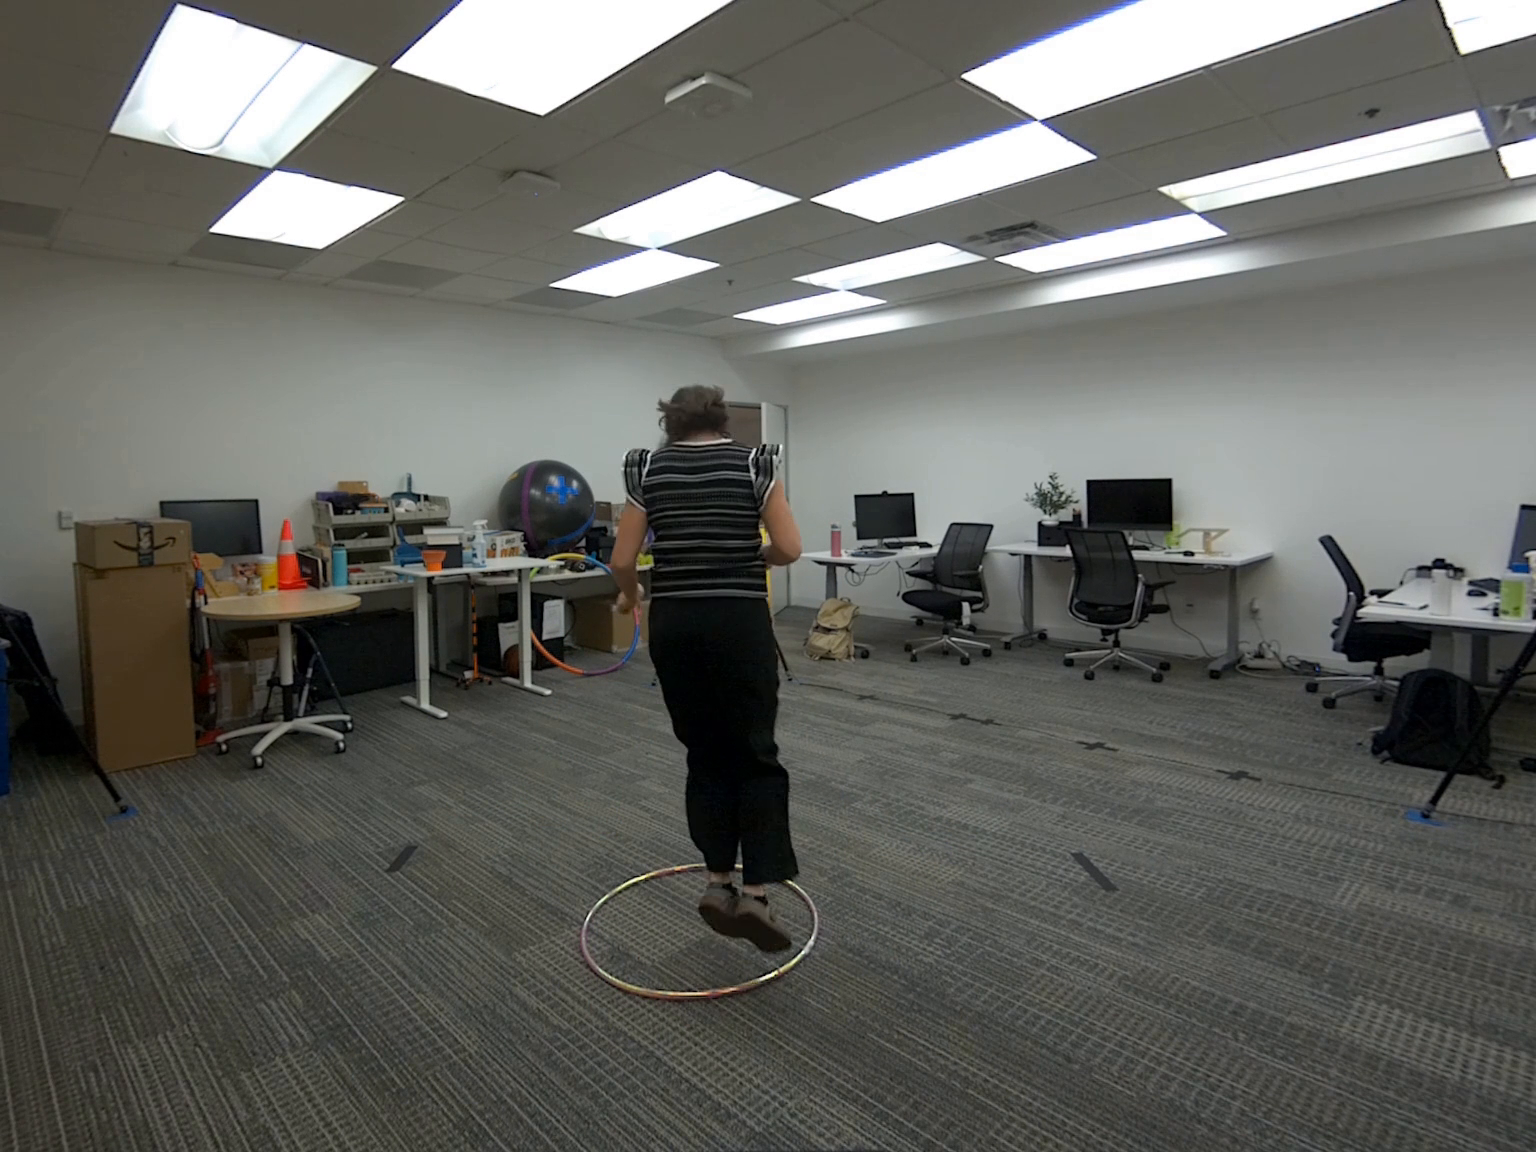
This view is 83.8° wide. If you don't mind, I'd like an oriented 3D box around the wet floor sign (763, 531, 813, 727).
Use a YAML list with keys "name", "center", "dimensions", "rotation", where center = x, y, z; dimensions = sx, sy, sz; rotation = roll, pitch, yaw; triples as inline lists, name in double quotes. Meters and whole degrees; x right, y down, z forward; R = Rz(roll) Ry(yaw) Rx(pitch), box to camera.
- name: "wet floor sign"
  center: [-0.061, 0.173, 2.744]
  dimensions: [0.289, 0.632, 0.290]
  rotation: [5, 47, -5]
